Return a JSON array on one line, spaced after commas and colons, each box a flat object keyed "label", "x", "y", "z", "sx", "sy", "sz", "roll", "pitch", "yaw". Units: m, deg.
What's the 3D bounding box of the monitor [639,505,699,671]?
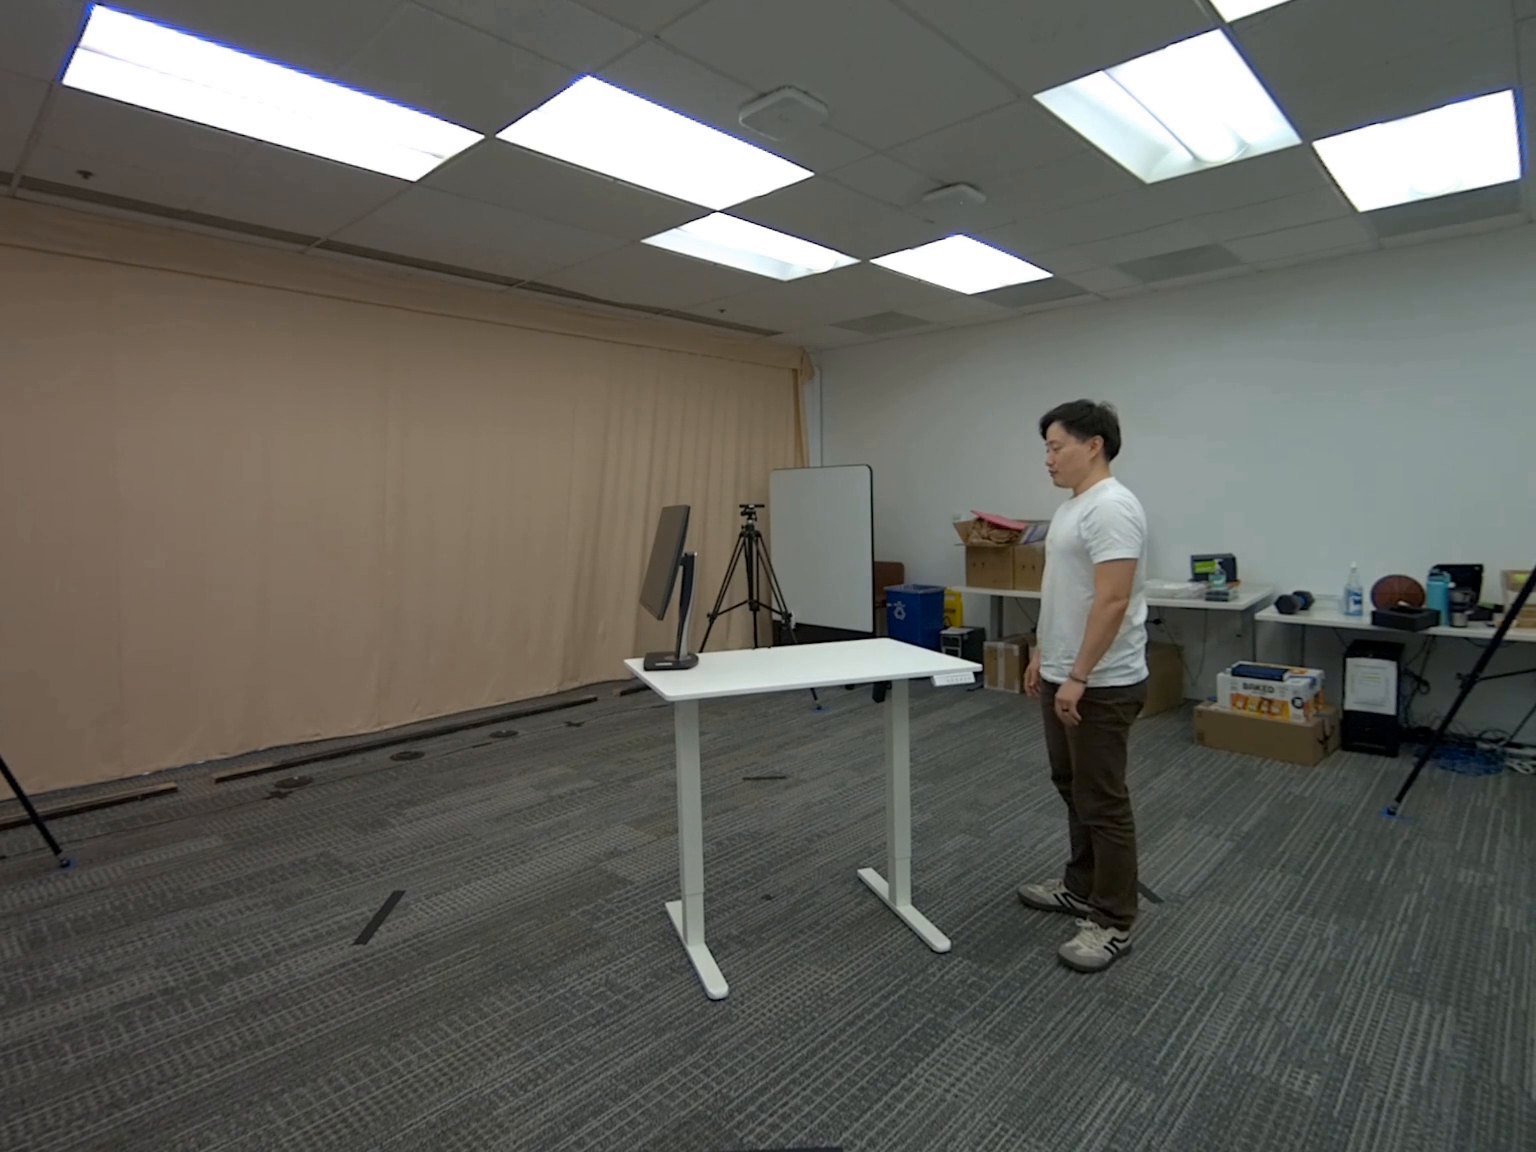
[{"label": "monitor", "x": -0.314, "y": 0.035, "z": 2.759, "sx": 0.184, "sy": 0.522, "sz": 0.548, "roll": 0, "pitch": 3, "yaw": -16}]
